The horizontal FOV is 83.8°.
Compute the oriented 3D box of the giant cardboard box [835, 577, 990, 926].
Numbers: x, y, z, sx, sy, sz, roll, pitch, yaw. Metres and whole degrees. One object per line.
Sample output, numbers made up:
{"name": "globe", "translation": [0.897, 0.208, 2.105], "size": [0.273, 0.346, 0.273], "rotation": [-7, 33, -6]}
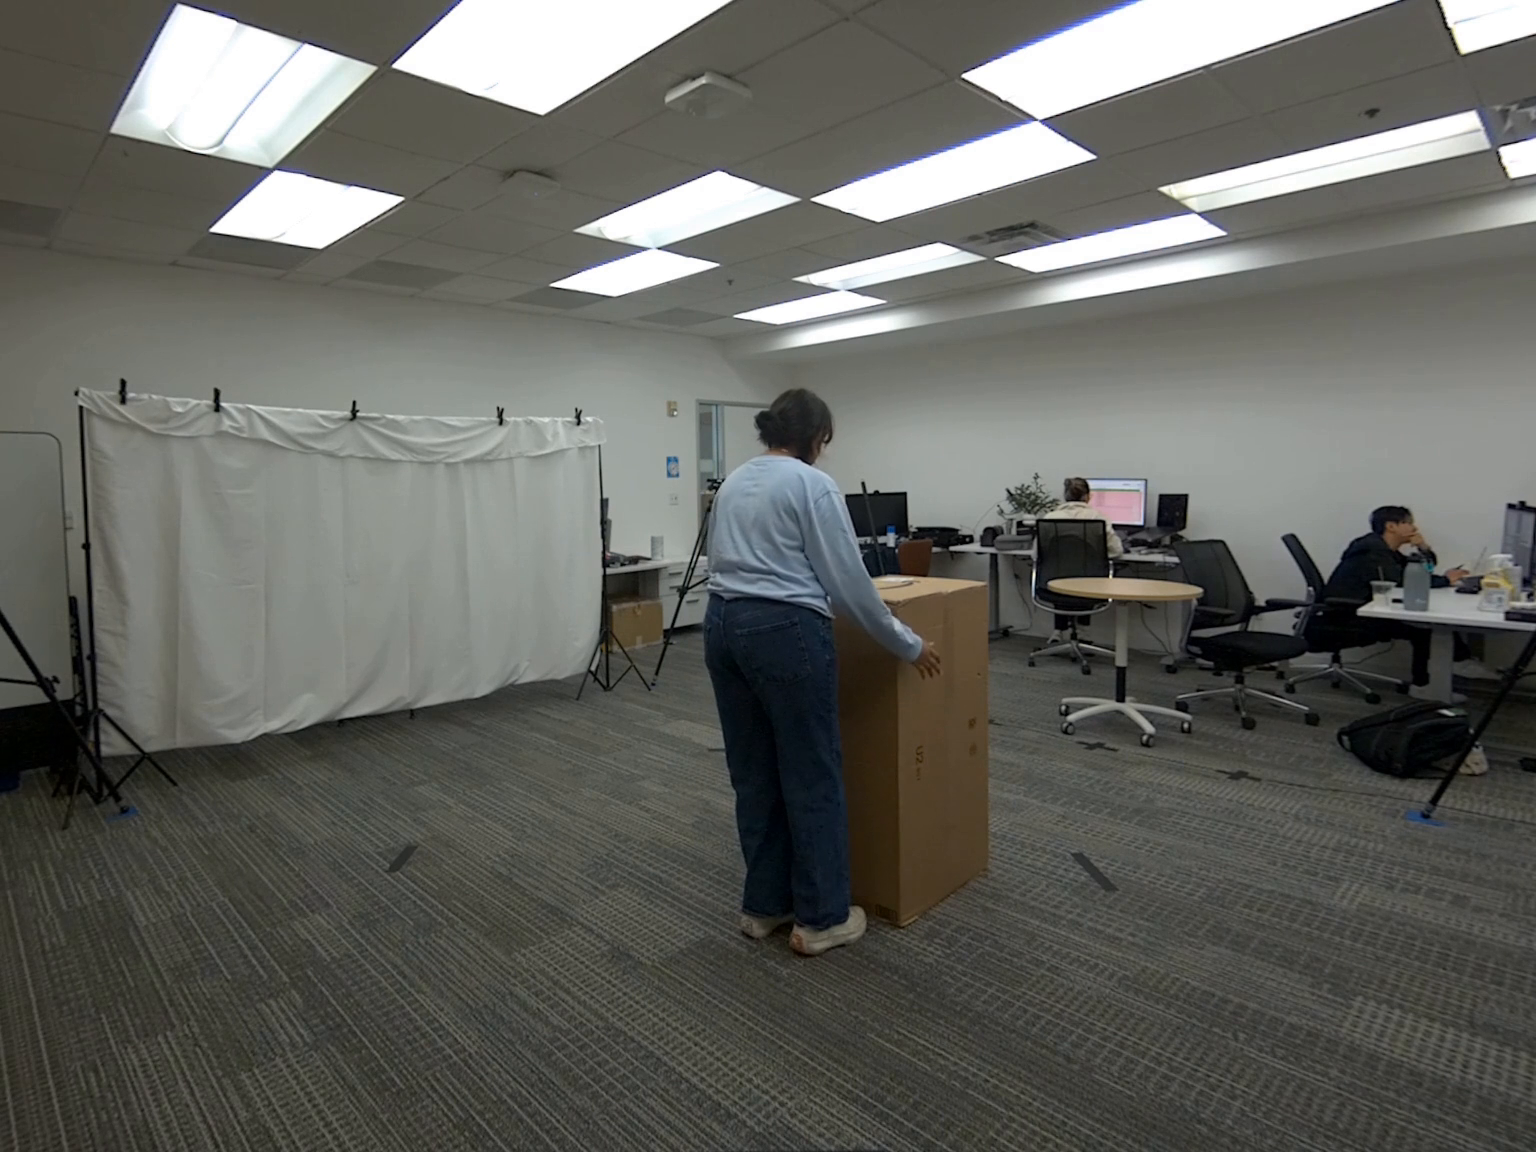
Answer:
{"name": "giant cardboard box", "translation": [0.441, 0.544, 2.963], "size": [0.460, 1.024, 0.568], "rotation": [2, 5, 44]}
